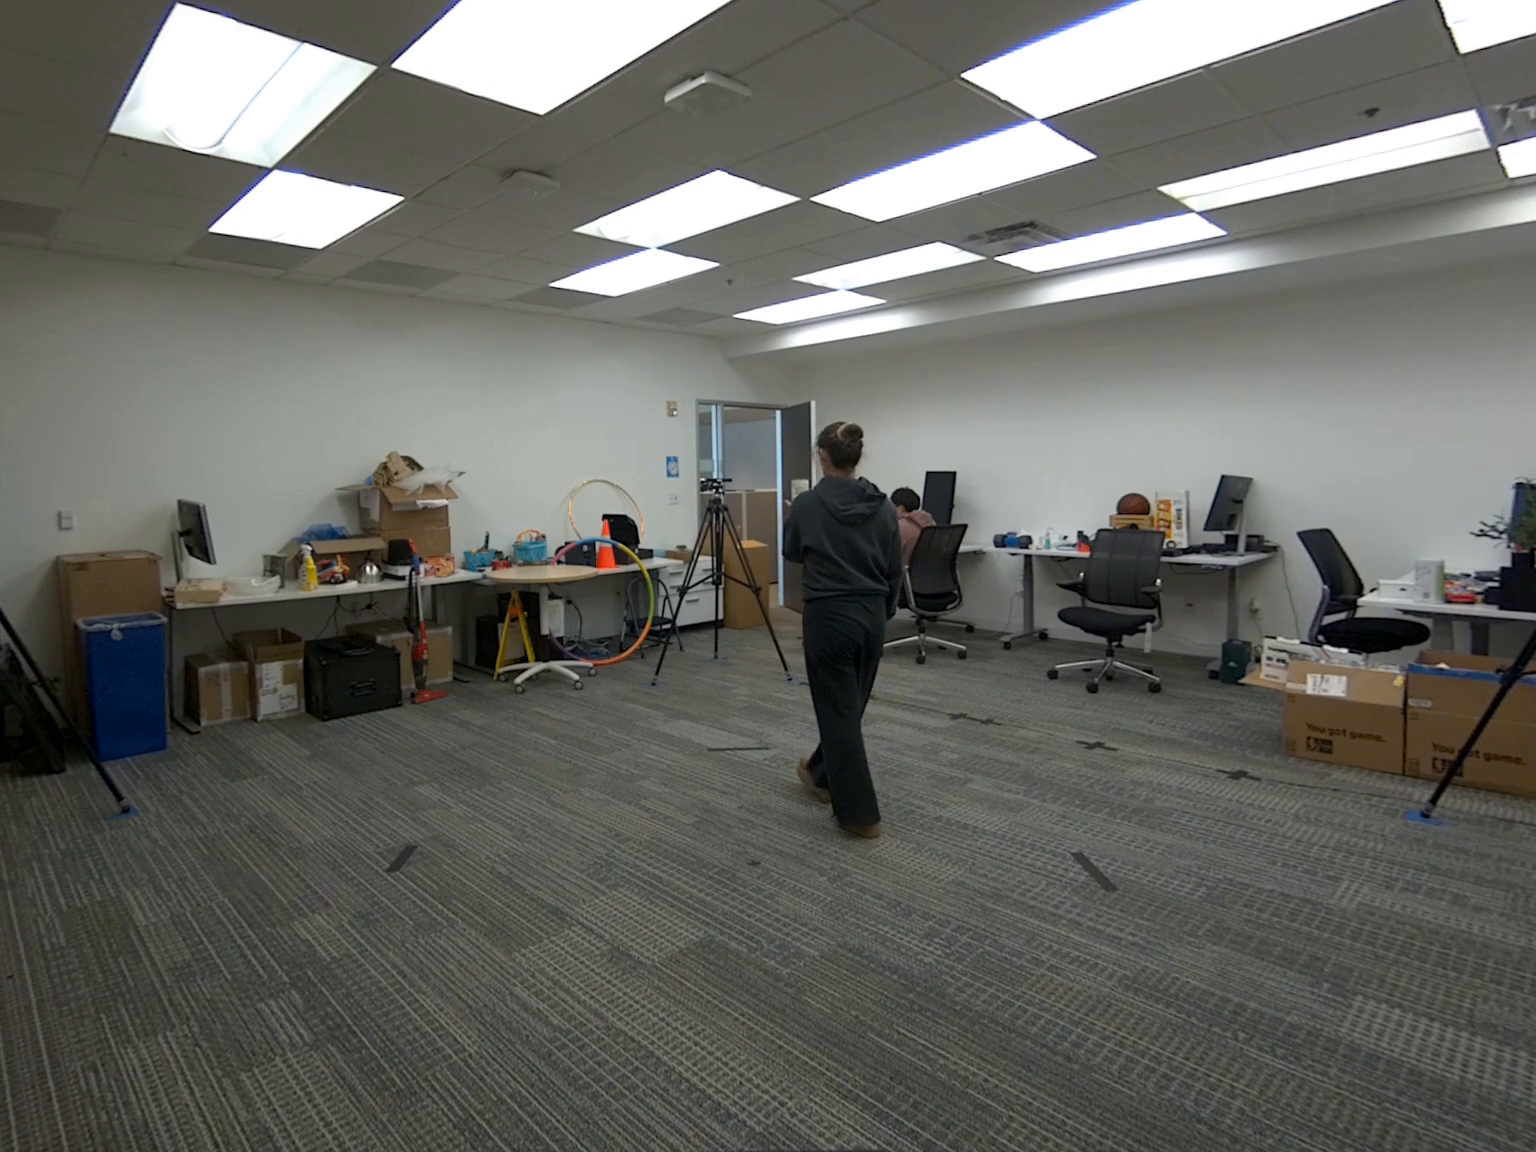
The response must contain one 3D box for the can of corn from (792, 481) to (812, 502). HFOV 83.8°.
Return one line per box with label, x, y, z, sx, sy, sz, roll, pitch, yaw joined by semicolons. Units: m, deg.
can of corn;0.145;-0.357;3.734;0.074;0.111;0.074;0;3;-2
